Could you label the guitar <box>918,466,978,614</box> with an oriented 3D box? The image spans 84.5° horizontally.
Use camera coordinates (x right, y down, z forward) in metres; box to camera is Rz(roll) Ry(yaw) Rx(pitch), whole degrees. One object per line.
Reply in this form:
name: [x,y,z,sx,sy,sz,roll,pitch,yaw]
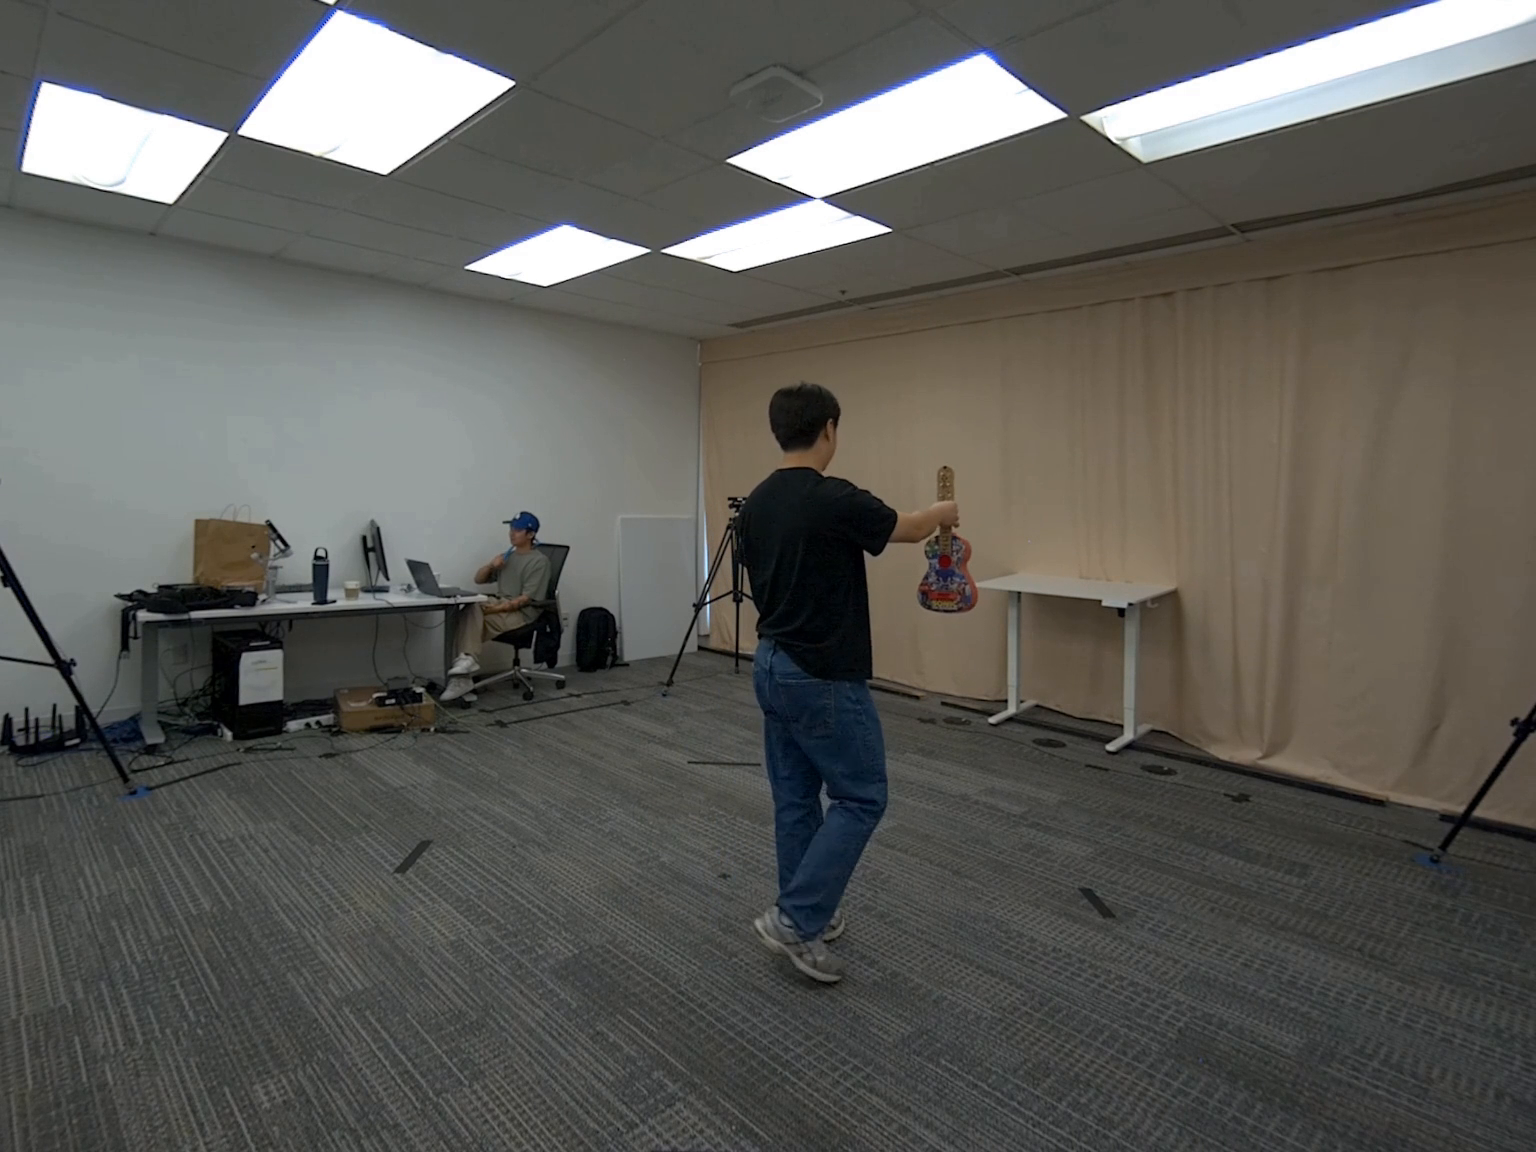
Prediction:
guitar: [0.630,-0.116,2.863,0.198,0.497,0.069,10,2,31]
